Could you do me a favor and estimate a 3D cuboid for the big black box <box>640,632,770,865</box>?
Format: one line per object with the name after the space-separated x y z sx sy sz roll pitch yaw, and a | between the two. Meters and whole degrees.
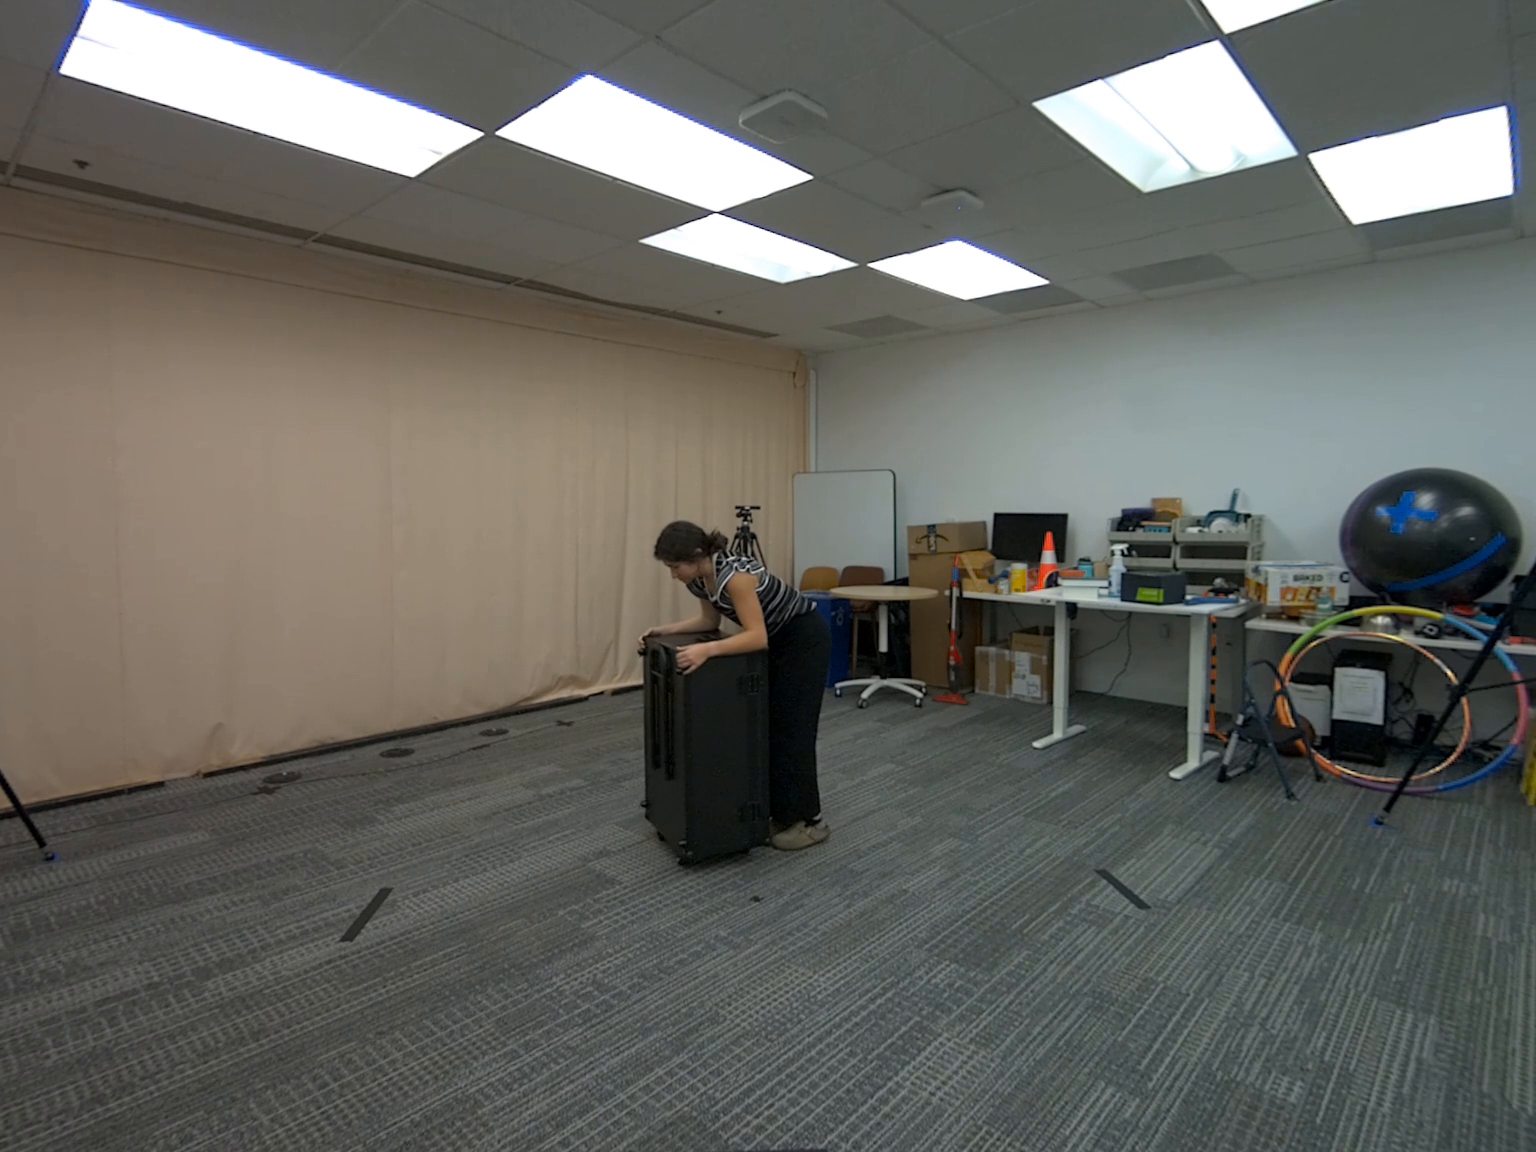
-0.267 0.692 3.402 0.387 0.859 0.534 -3 4 -25 | big black box
